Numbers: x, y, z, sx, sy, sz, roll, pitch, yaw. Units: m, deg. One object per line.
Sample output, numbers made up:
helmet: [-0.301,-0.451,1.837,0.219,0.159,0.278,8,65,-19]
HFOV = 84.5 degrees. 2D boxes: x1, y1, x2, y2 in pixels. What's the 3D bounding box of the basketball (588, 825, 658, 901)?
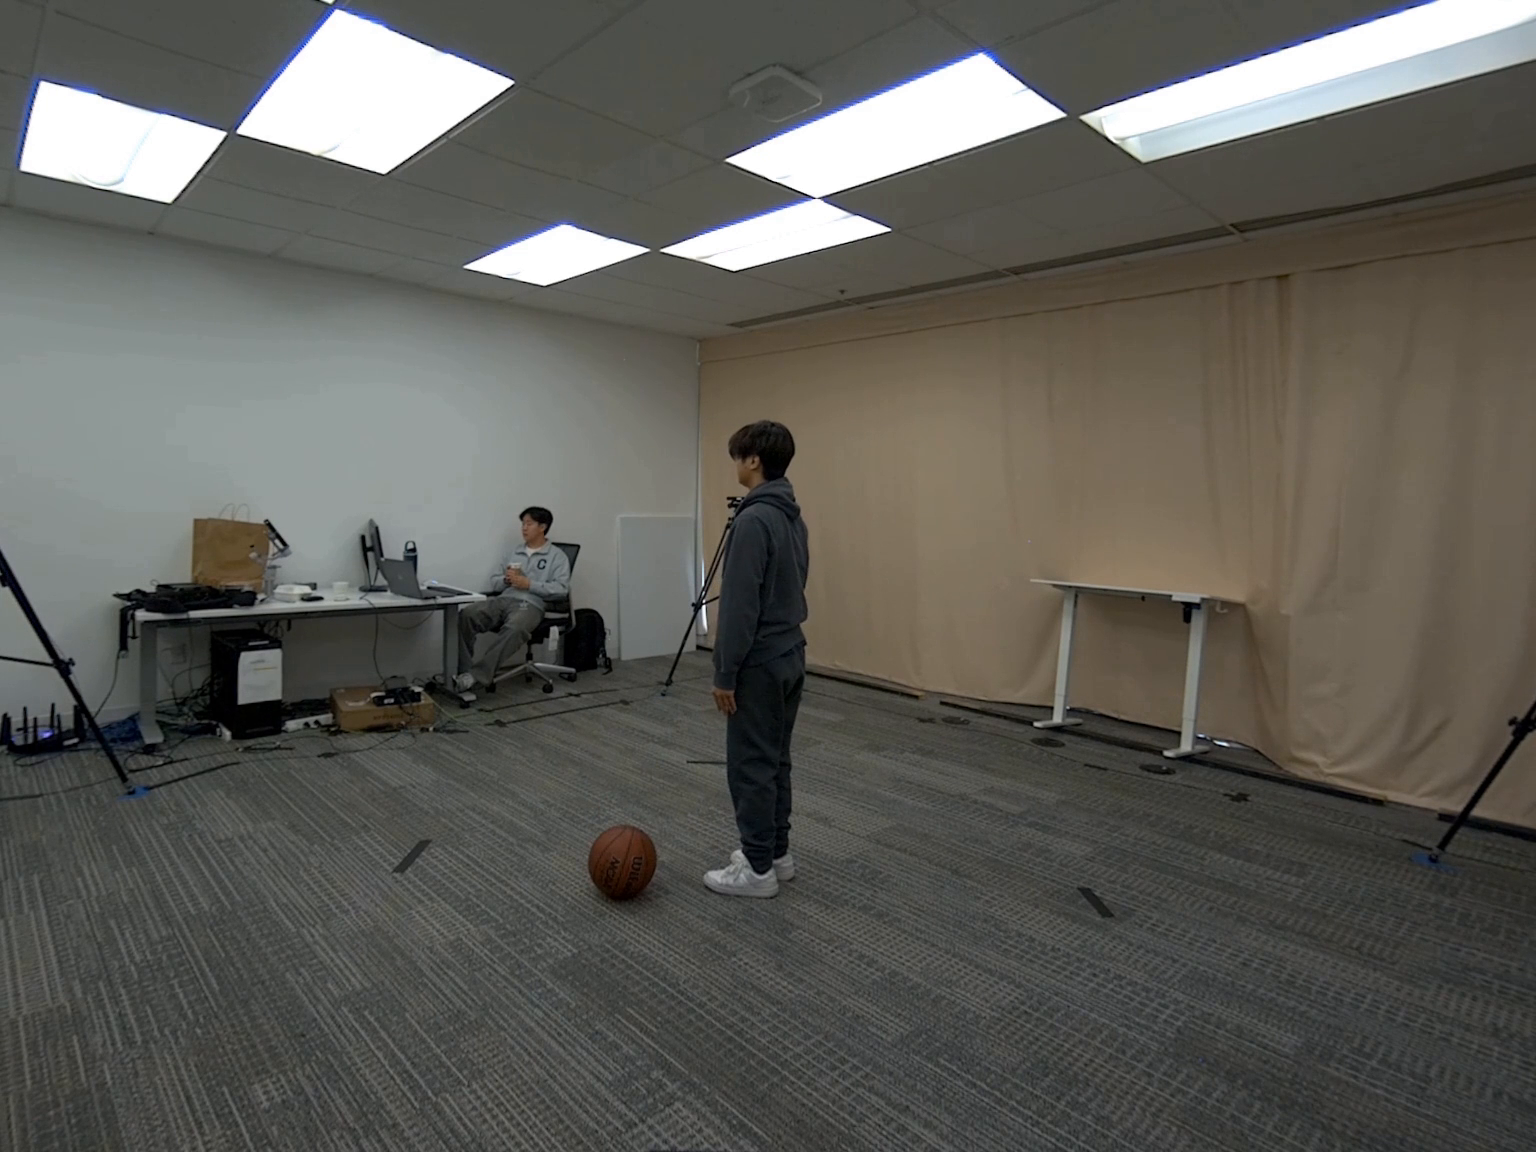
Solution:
basketball: [-0.515,0.994,2.932,0.236,0.235,0.237,1,4,-1]
